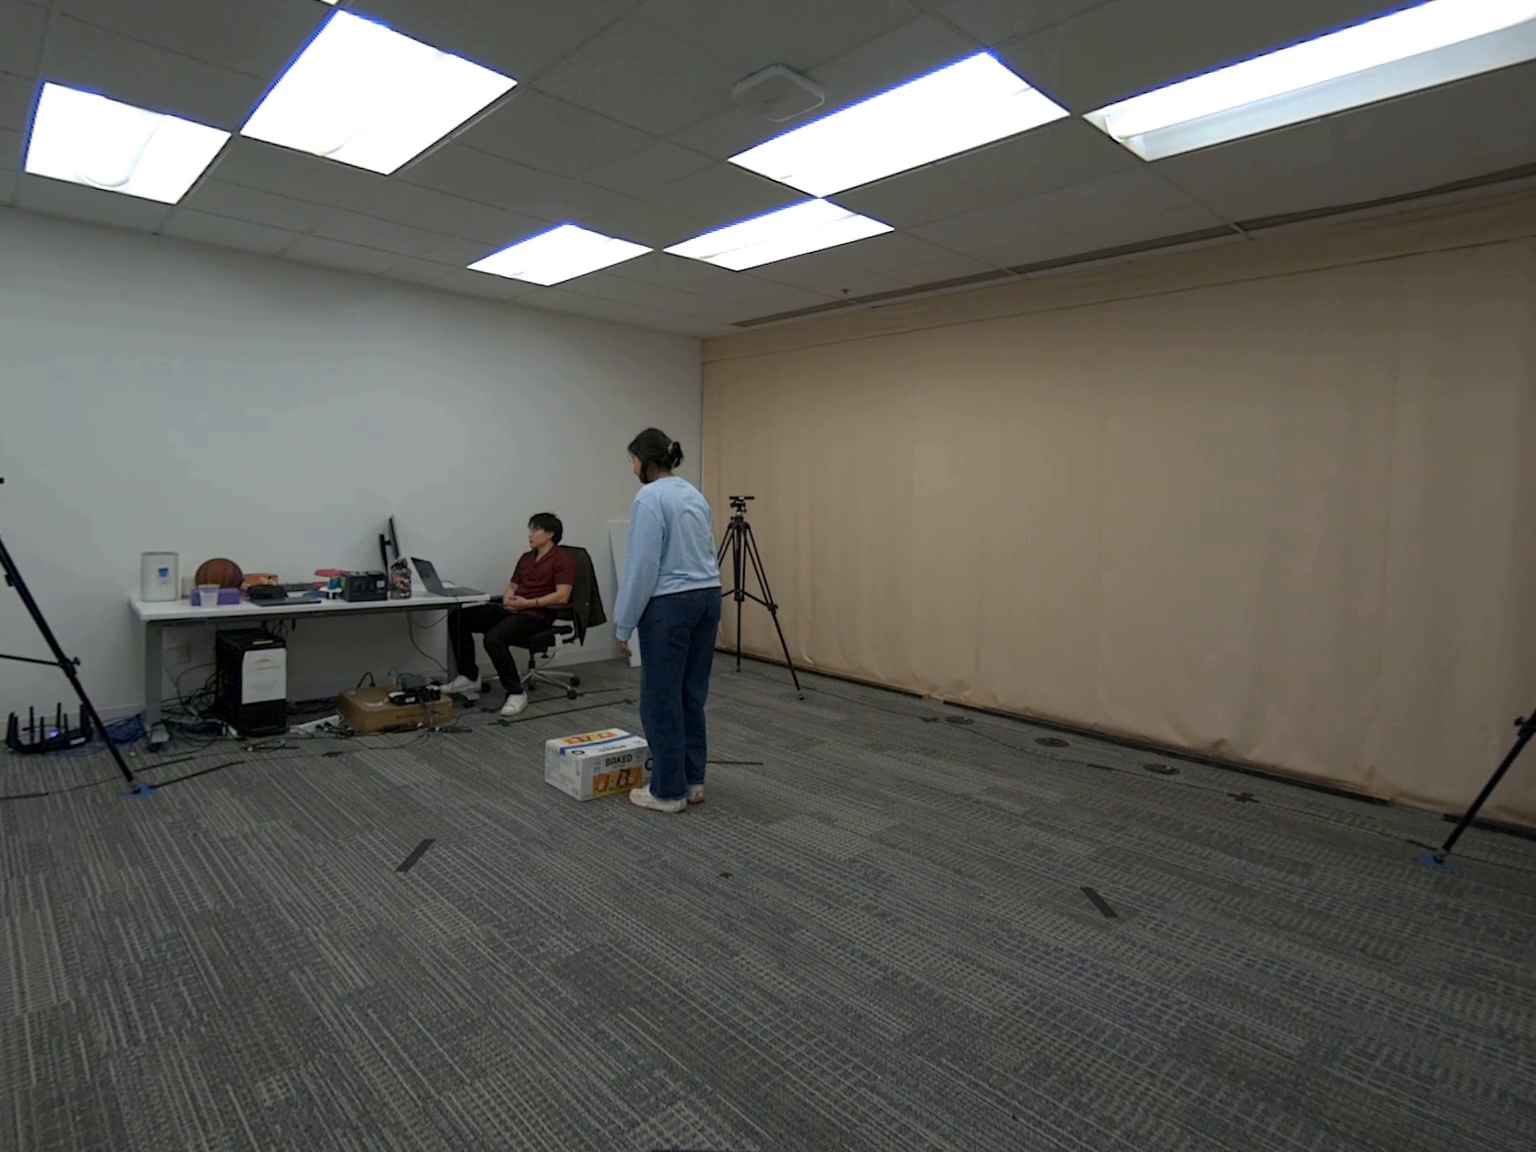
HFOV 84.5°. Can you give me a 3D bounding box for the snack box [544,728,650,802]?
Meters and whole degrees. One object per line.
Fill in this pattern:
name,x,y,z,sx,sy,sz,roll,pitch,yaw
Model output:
snack box,-0.818,0.900,4.063,0.396,0.205,0.349,-2,5,-42
